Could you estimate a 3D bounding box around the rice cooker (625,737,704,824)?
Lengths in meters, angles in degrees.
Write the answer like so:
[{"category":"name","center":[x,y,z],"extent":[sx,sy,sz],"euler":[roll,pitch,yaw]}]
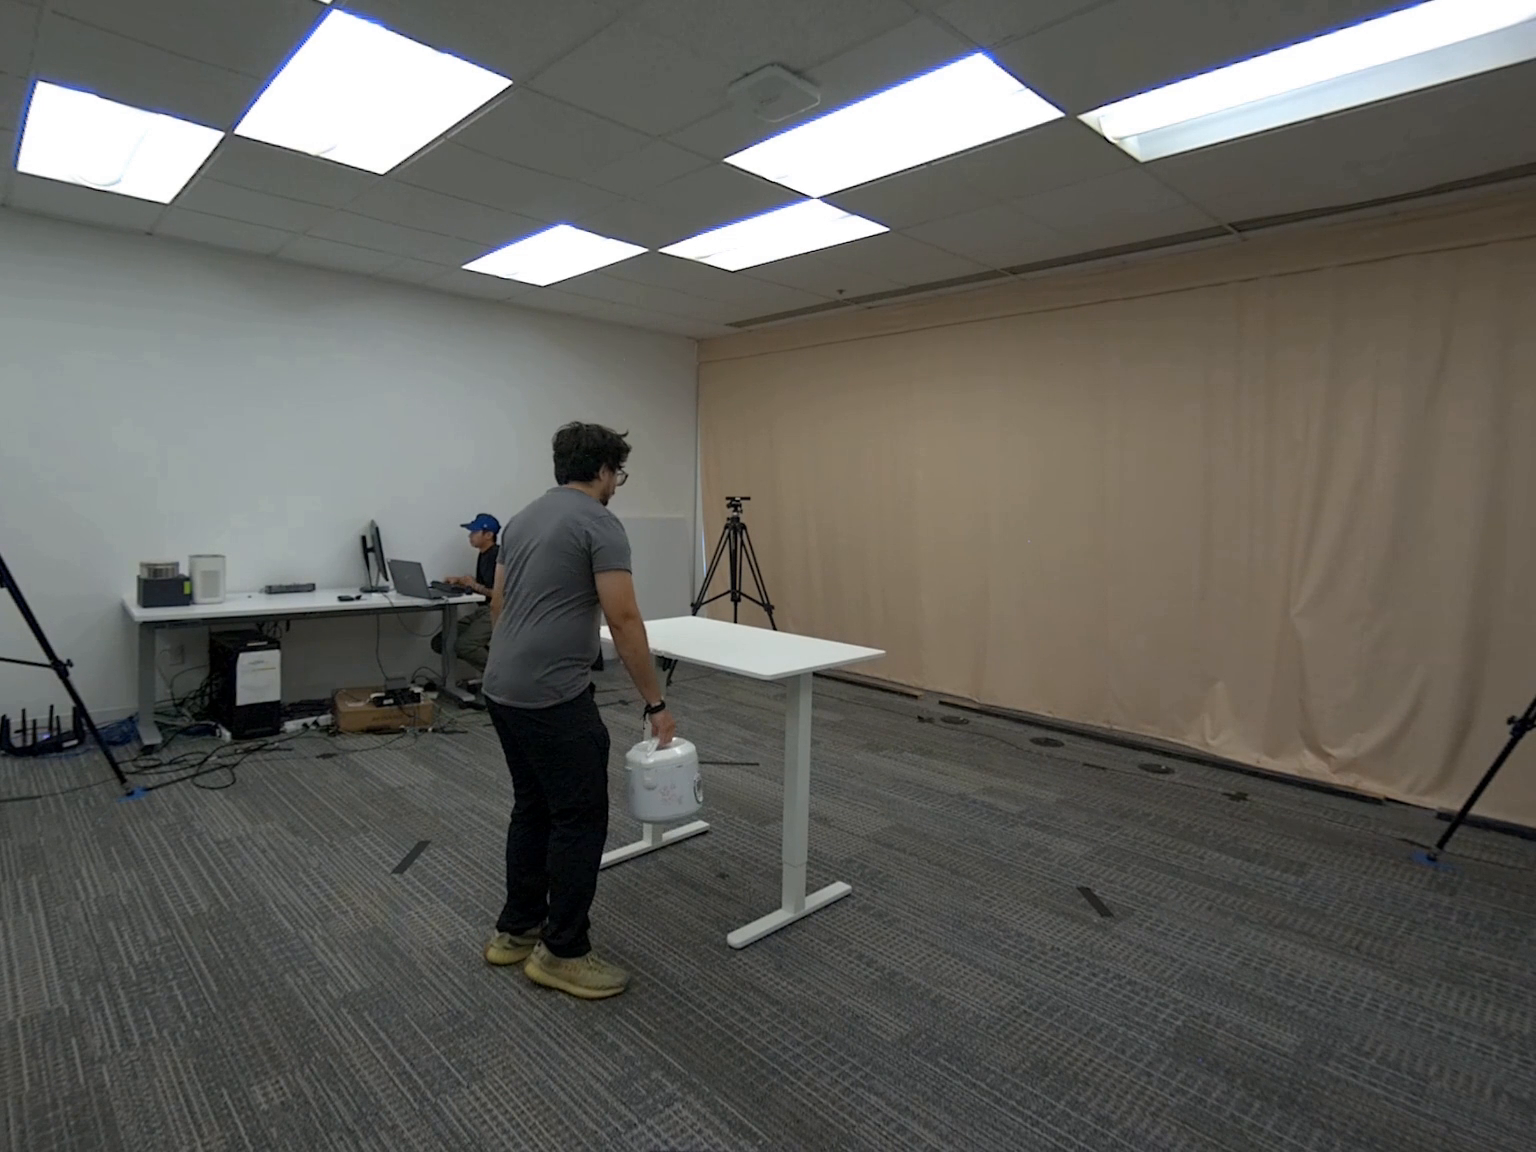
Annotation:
[{"category":"rice cooker","center":[-0.310,0.589,2.418],"extent":[0.220,0.232,0.219],"euler":[-3,5,16]}]
